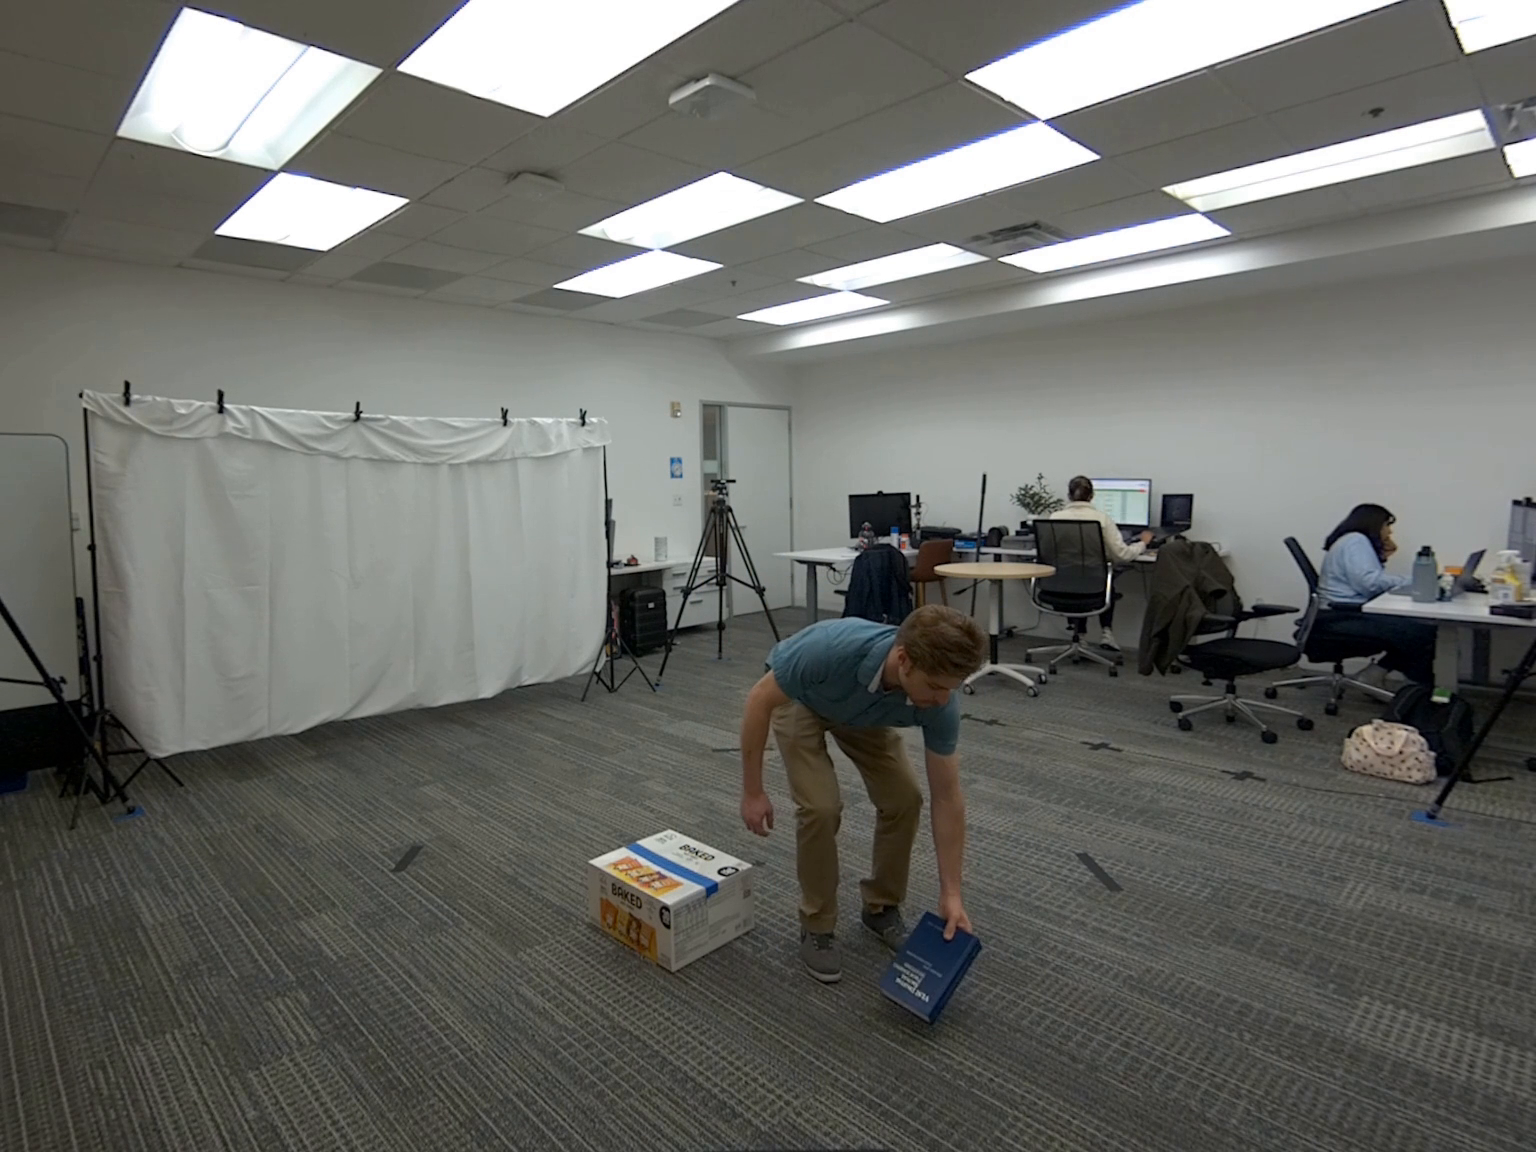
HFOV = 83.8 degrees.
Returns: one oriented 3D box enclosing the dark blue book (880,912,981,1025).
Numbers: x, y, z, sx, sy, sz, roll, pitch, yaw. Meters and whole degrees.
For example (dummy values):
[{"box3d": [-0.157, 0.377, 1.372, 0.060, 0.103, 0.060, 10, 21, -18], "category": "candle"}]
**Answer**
[{"box3d": [0.429, 1.015, 2.216, 0.169, 0.044, 0.244, 8, 43, 47], "category": "dark blue book"}]
